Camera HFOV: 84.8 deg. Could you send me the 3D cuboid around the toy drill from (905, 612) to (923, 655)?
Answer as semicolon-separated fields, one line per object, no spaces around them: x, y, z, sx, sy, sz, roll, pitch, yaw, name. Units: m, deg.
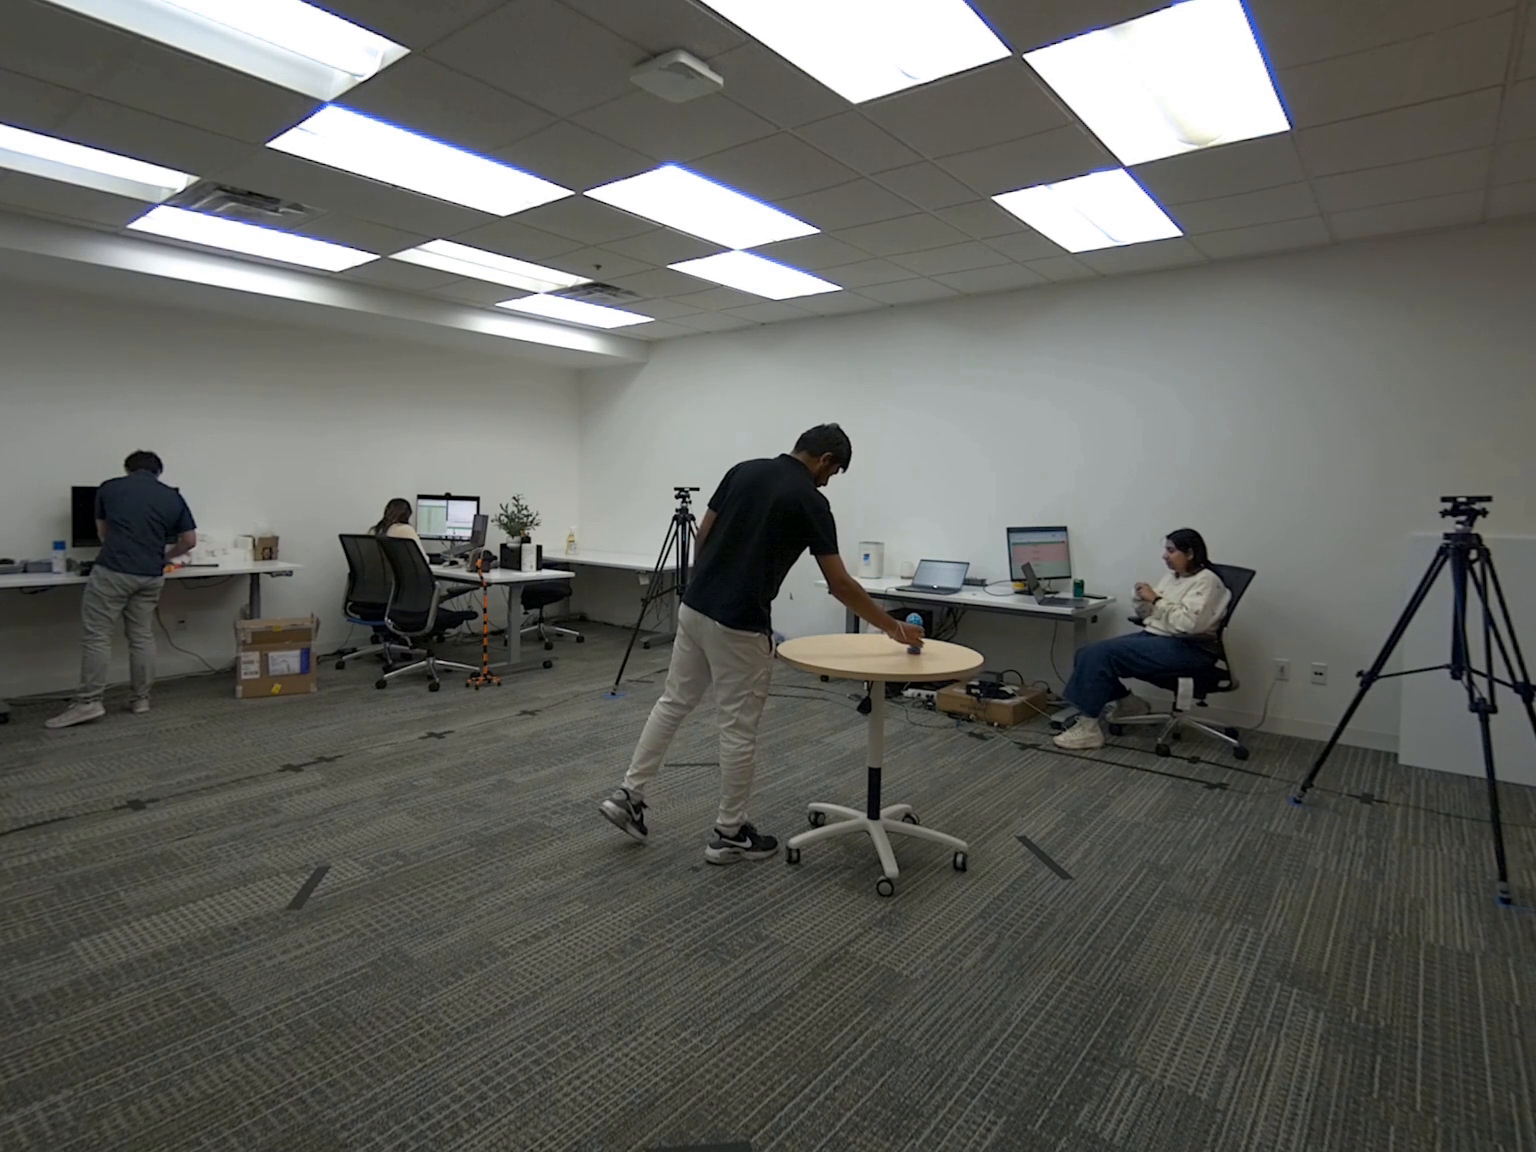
0.553;0.212;3.258;0.062;0.145;0.169;0;4;7;toy drill
